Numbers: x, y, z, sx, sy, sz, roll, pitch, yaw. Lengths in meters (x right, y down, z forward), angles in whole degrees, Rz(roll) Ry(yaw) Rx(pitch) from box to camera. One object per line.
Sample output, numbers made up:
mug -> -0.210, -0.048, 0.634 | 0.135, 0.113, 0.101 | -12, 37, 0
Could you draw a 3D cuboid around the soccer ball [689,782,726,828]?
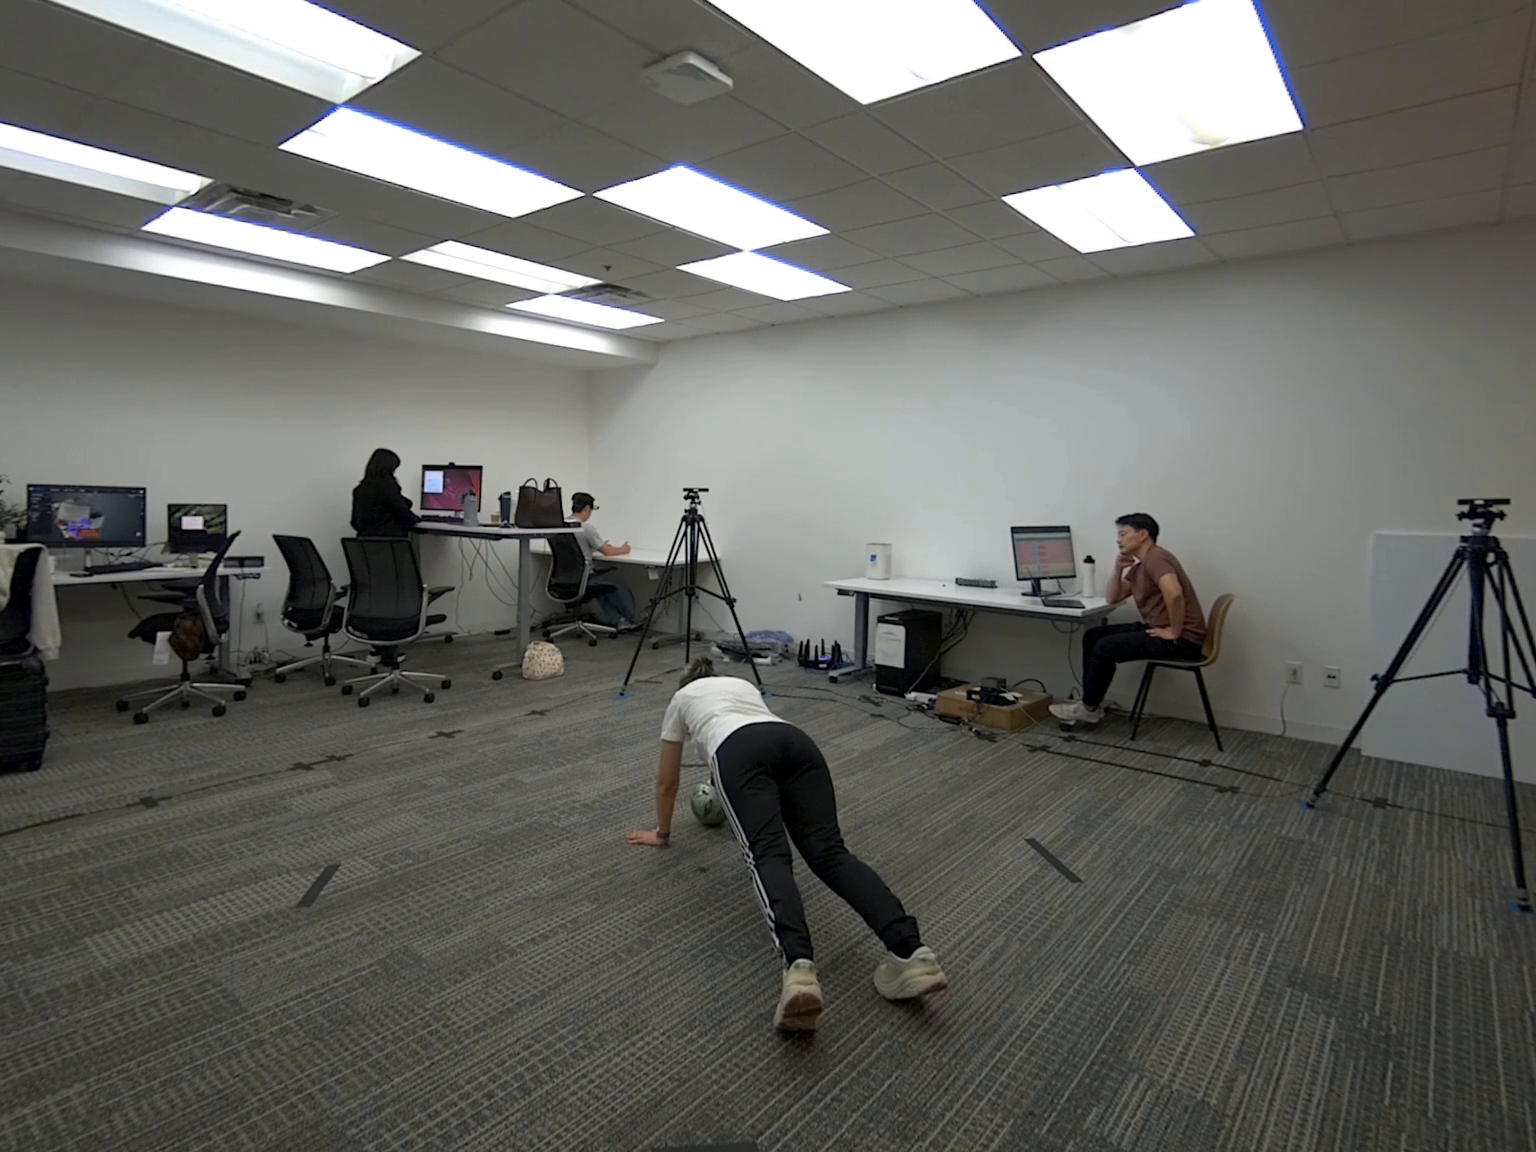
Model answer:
soccer ball -> -0.239, 0.934, 3.532 | 0.187, 0.187, 0.188 | 1, 4, -2
